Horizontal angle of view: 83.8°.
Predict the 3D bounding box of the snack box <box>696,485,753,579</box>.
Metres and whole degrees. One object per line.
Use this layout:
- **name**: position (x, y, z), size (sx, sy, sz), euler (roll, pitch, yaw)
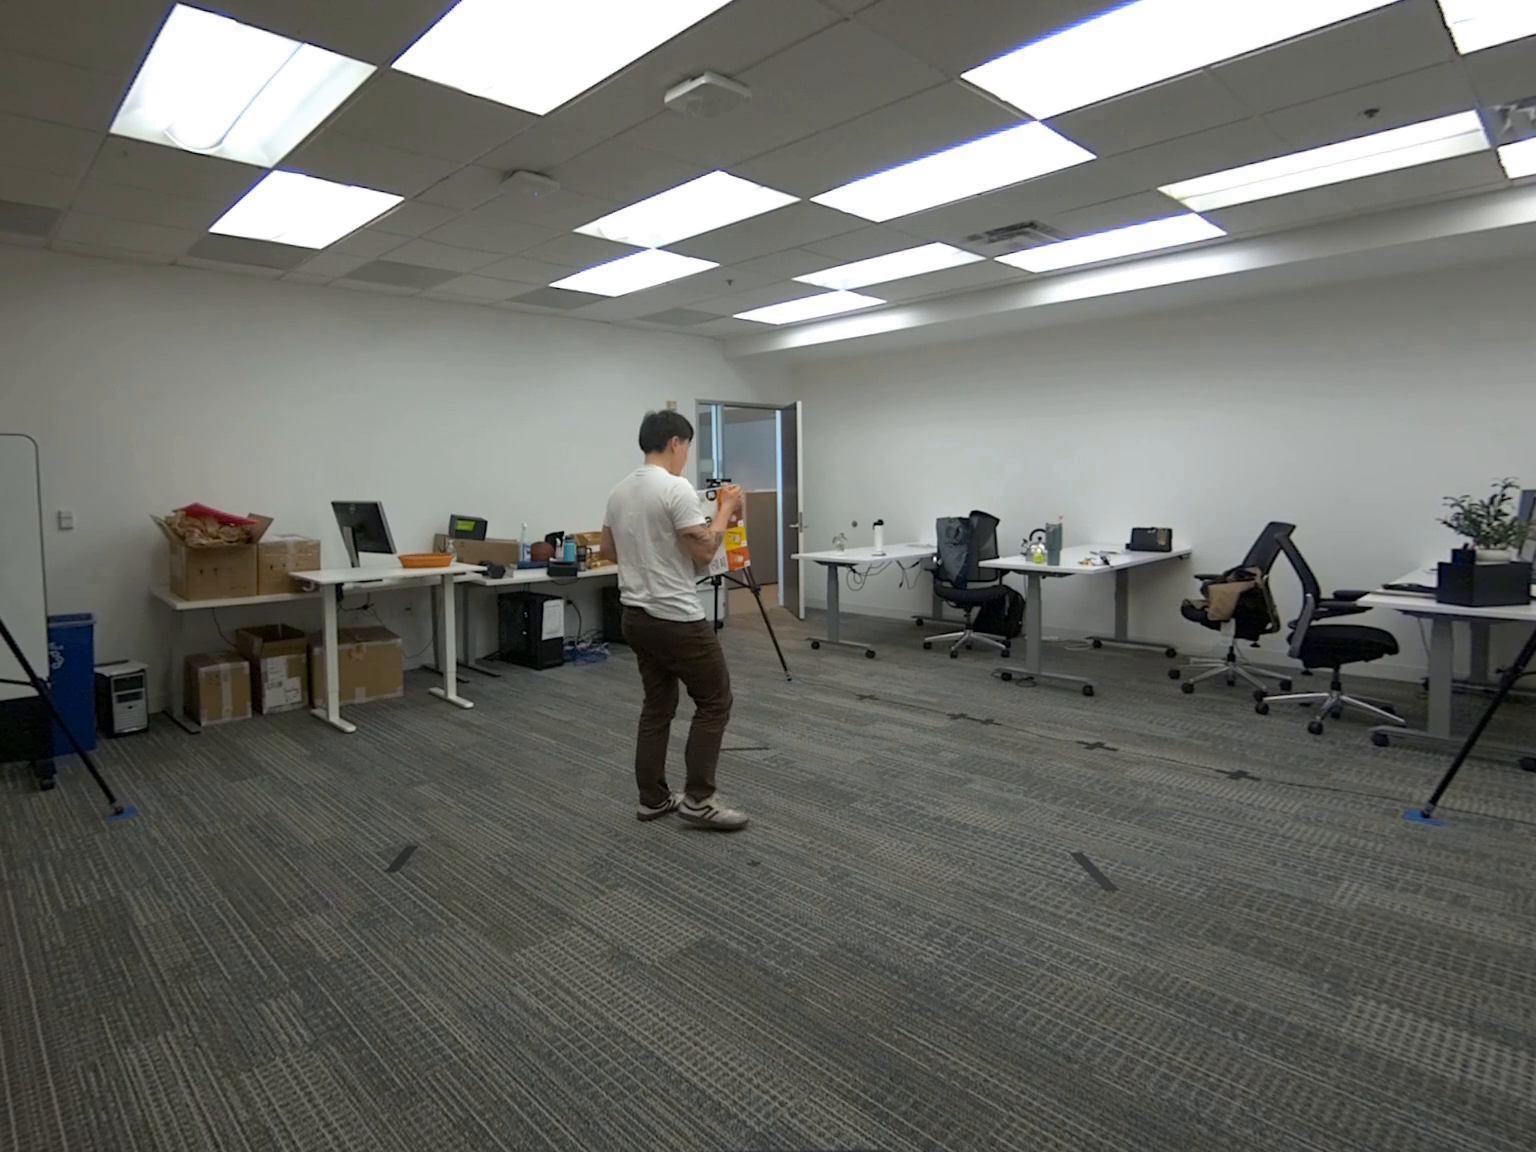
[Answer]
- **snack box**: position (-0.295, -0.184, 3.592), size (0.201, 0.338, 0.416), euler (-14, 8, -35)
